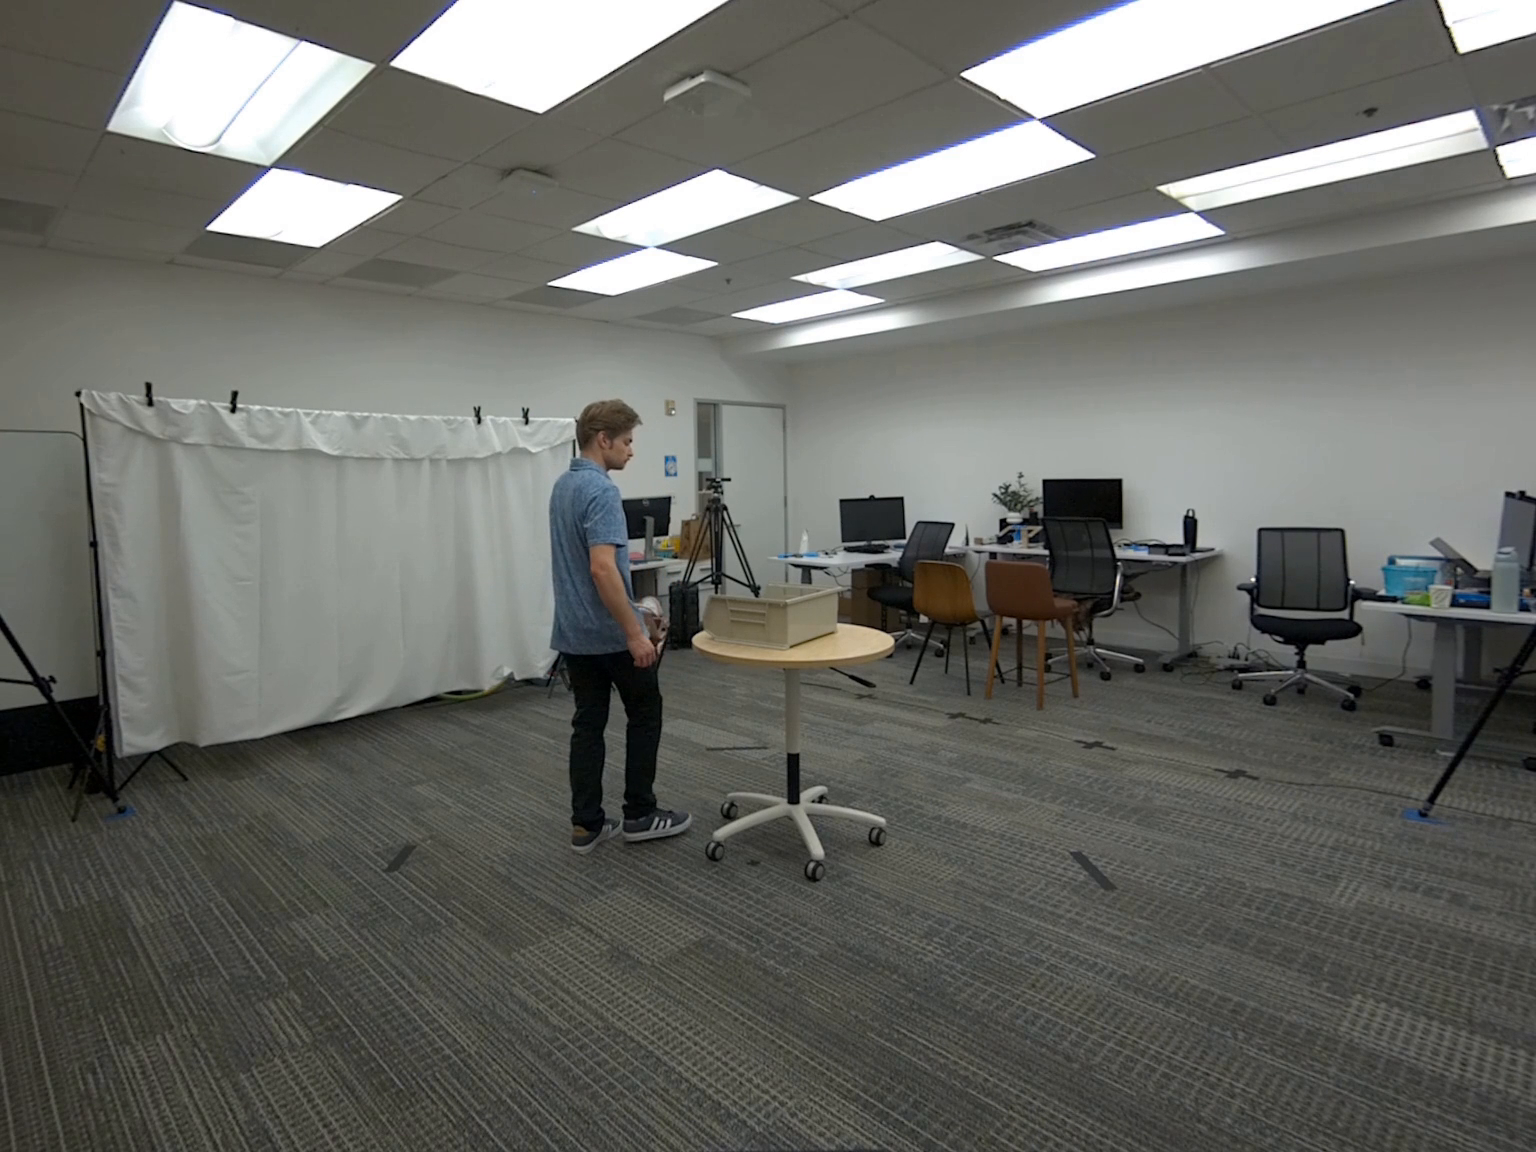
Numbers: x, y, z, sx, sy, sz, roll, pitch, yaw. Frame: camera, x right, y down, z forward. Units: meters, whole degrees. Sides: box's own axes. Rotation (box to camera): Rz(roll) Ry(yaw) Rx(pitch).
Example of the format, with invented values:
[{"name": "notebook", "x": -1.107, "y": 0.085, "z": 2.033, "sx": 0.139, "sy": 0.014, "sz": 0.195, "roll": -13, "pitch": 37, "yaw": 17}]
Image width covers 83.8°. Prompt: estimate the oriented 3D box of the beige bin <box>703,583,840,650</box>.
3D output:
[{"name": "beige bin", "x": 0.014, "y": 0.147, "z": 3.307, "sx": 0.388, "sy": 0.188, "sz": 0.412, "roll": 5, "pitch": 8, "yaw": 33}]
